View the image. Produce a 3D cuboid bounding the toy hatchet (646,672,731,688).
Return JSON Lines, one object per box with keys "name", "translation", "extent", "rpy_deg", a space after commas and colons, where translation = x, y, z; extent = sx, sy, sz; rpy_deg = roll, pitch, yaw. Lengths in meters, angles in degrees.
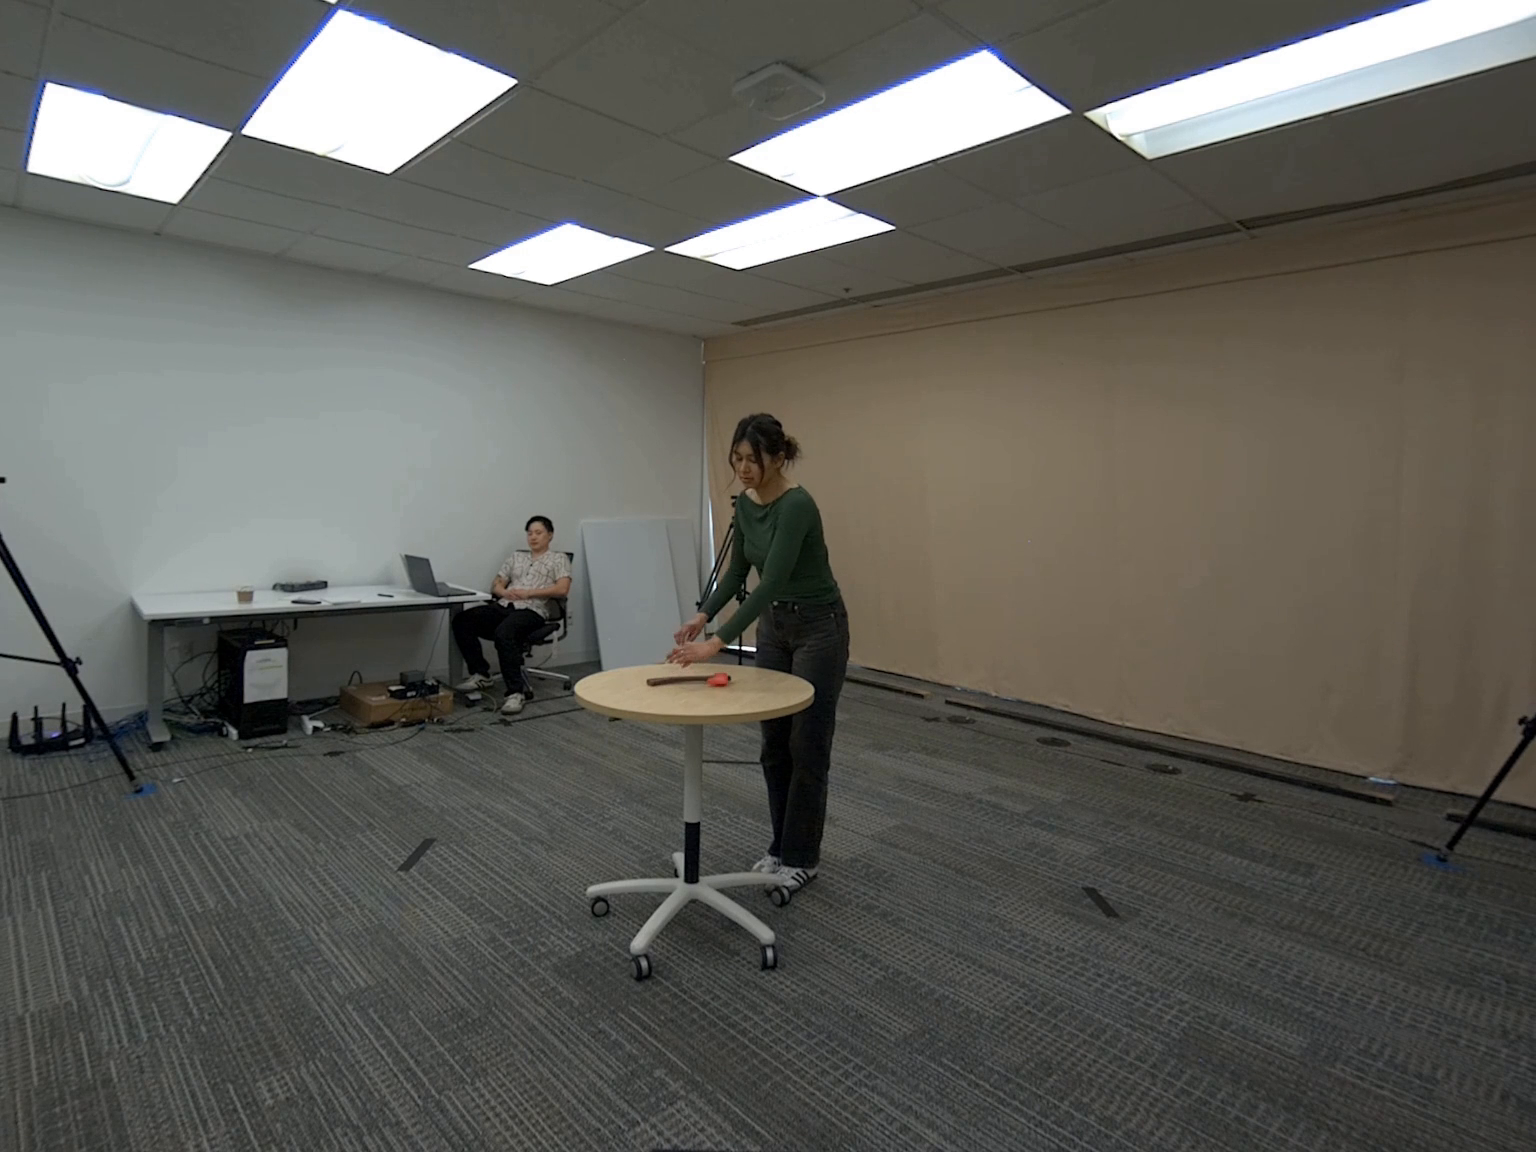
{"name": "toy hatchet", "translation": [-0.243, 0.341, 2.710], "extent": [0.265, 0.029, 0.134], "rpy_deg": [-3, 9, -25]}
